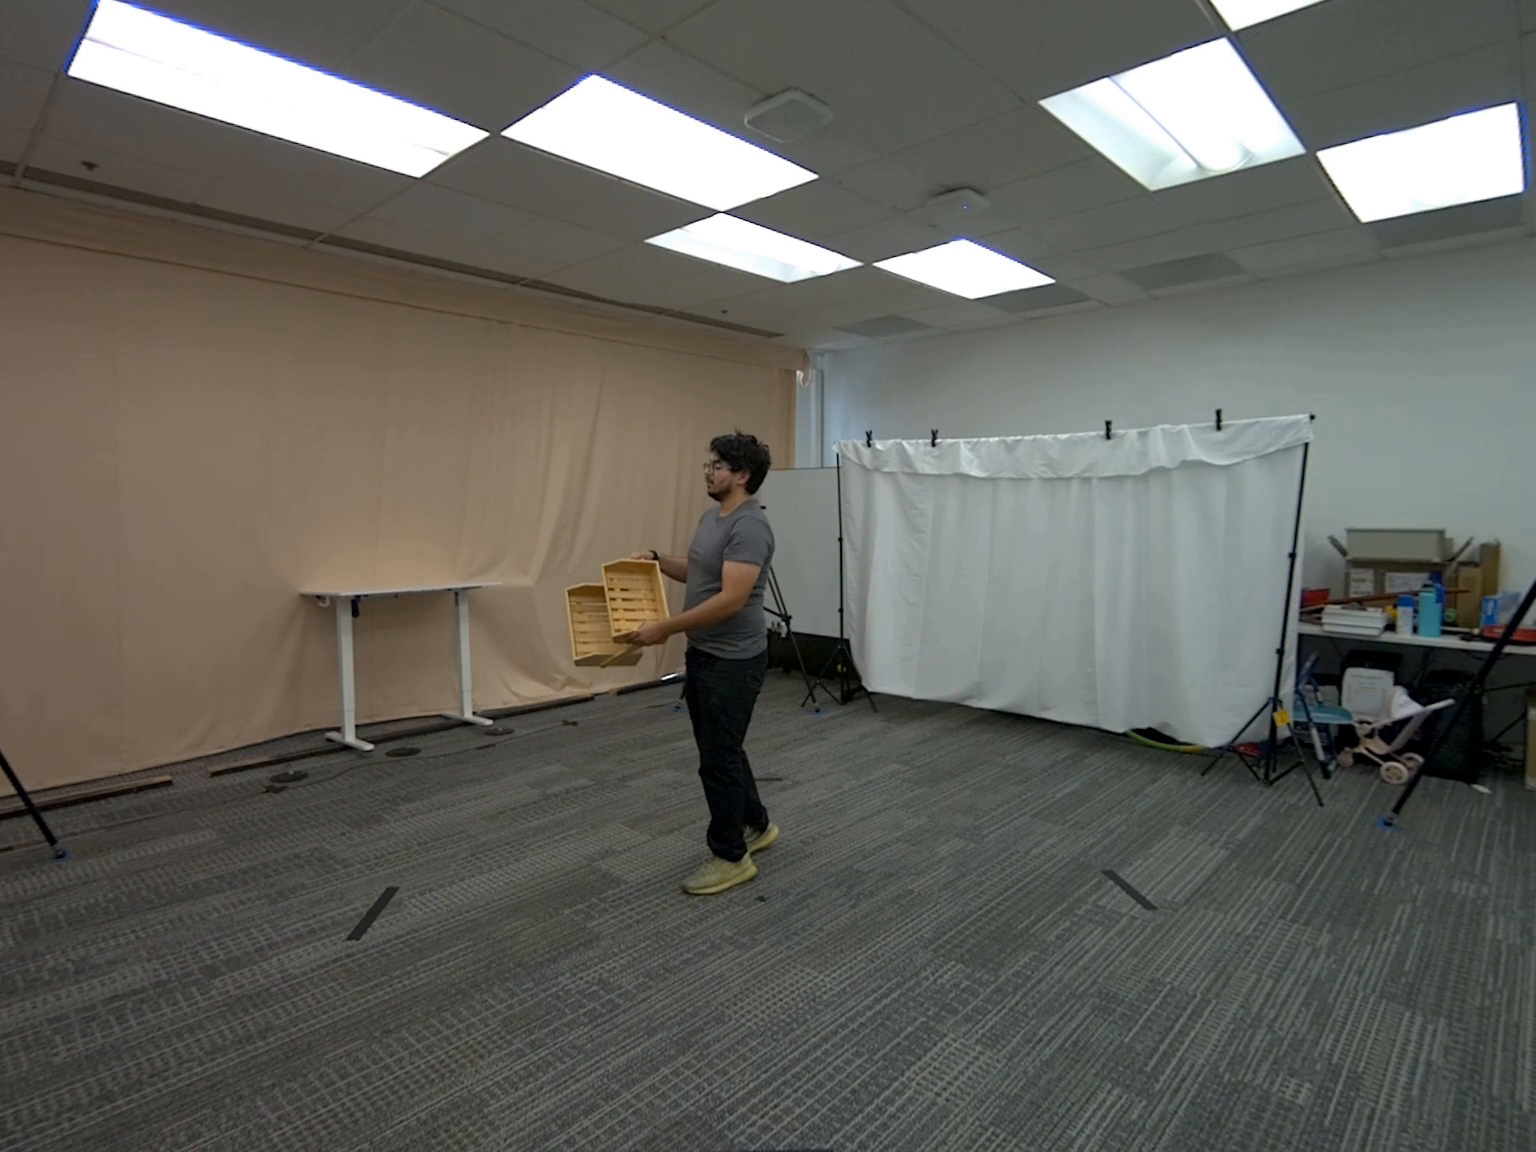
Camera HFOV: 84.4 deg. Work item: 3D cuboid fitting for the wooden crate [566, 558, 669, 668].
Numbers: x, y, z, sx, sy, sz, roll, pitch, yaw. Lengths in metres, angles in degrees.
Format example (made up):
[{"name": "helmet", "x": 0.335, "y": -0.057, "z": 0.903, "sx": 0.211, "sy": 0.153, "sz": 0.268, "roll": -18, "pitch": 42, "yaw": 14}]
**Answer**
[{"name": "wooden crate", "x": -0.549, "y": 0.135, "z": 3.079, "sx": 0.294, "sy": 0.332, "sz": 0.274, "roll": 4, "pitch": -35, "yaw": -28}]
